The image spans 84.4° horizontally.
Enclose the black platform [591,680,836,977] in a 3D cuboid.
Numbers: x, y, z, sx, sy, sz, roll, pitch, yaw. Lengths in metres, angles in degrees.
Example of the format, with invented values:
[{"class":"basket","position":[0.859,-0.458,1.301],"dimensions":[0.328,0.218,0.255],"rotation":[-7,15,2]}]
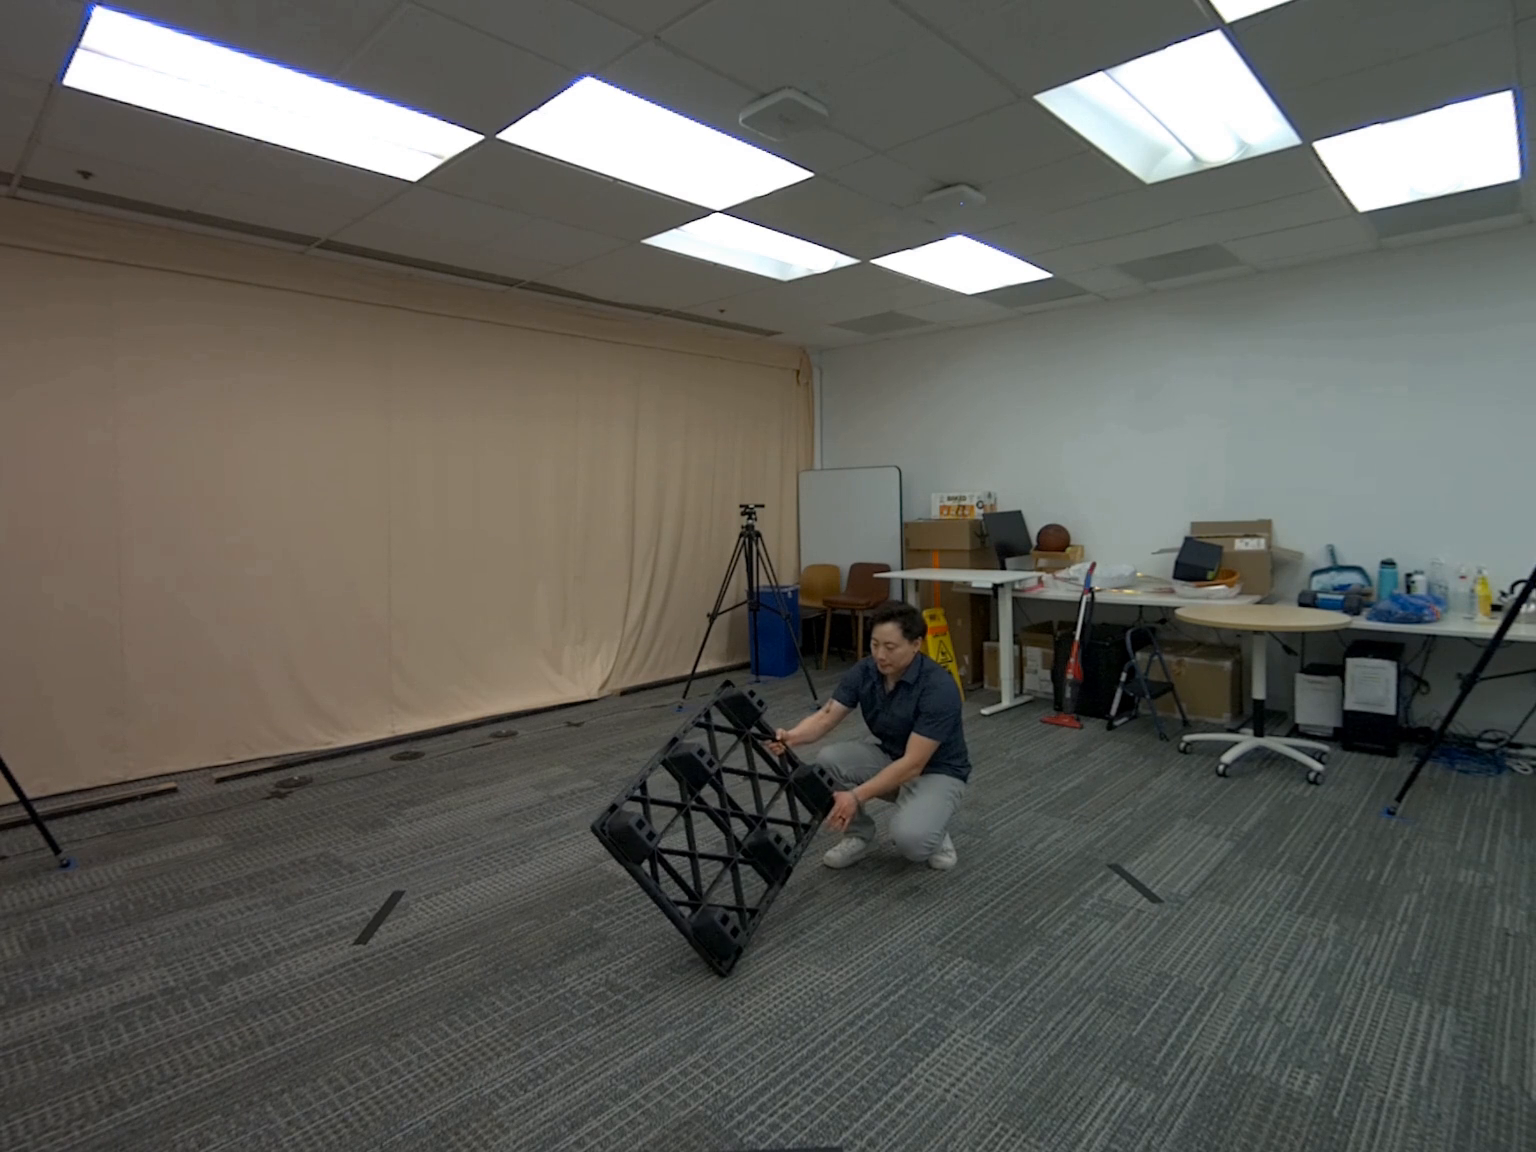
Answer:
[{"class":"black platform","position":[-0.113,0.759,2.748],"dimensions":[0.145,0.605,0.796],"rotation":[-43,0,41]}]
